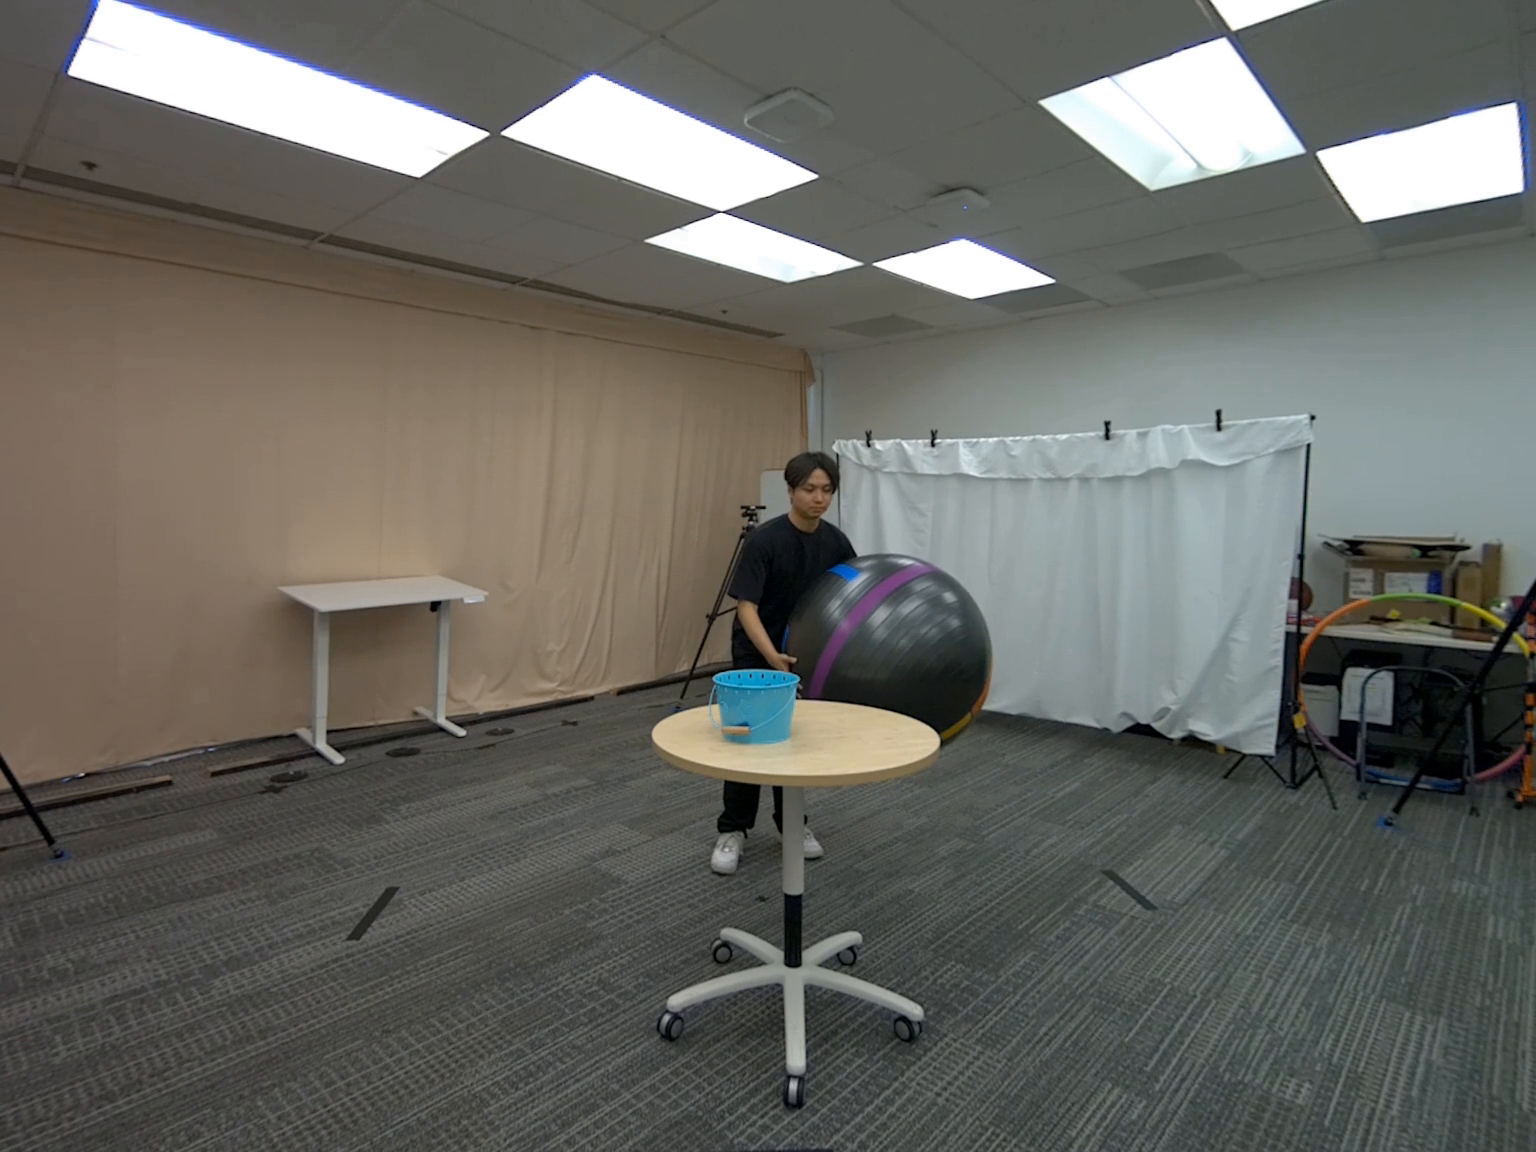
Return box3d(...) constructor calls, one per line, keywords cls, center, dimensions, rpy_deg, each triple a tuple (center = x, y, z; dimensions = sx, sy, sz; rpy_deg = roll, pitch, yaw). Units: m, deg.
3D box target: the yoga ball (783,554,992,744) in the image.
box3d(cls="yoga ball", center=(0.440, 0.303, 3.116), dimensions=(0.757, 0.756, 0.760), rpy_deg=(0, 4, -2))
